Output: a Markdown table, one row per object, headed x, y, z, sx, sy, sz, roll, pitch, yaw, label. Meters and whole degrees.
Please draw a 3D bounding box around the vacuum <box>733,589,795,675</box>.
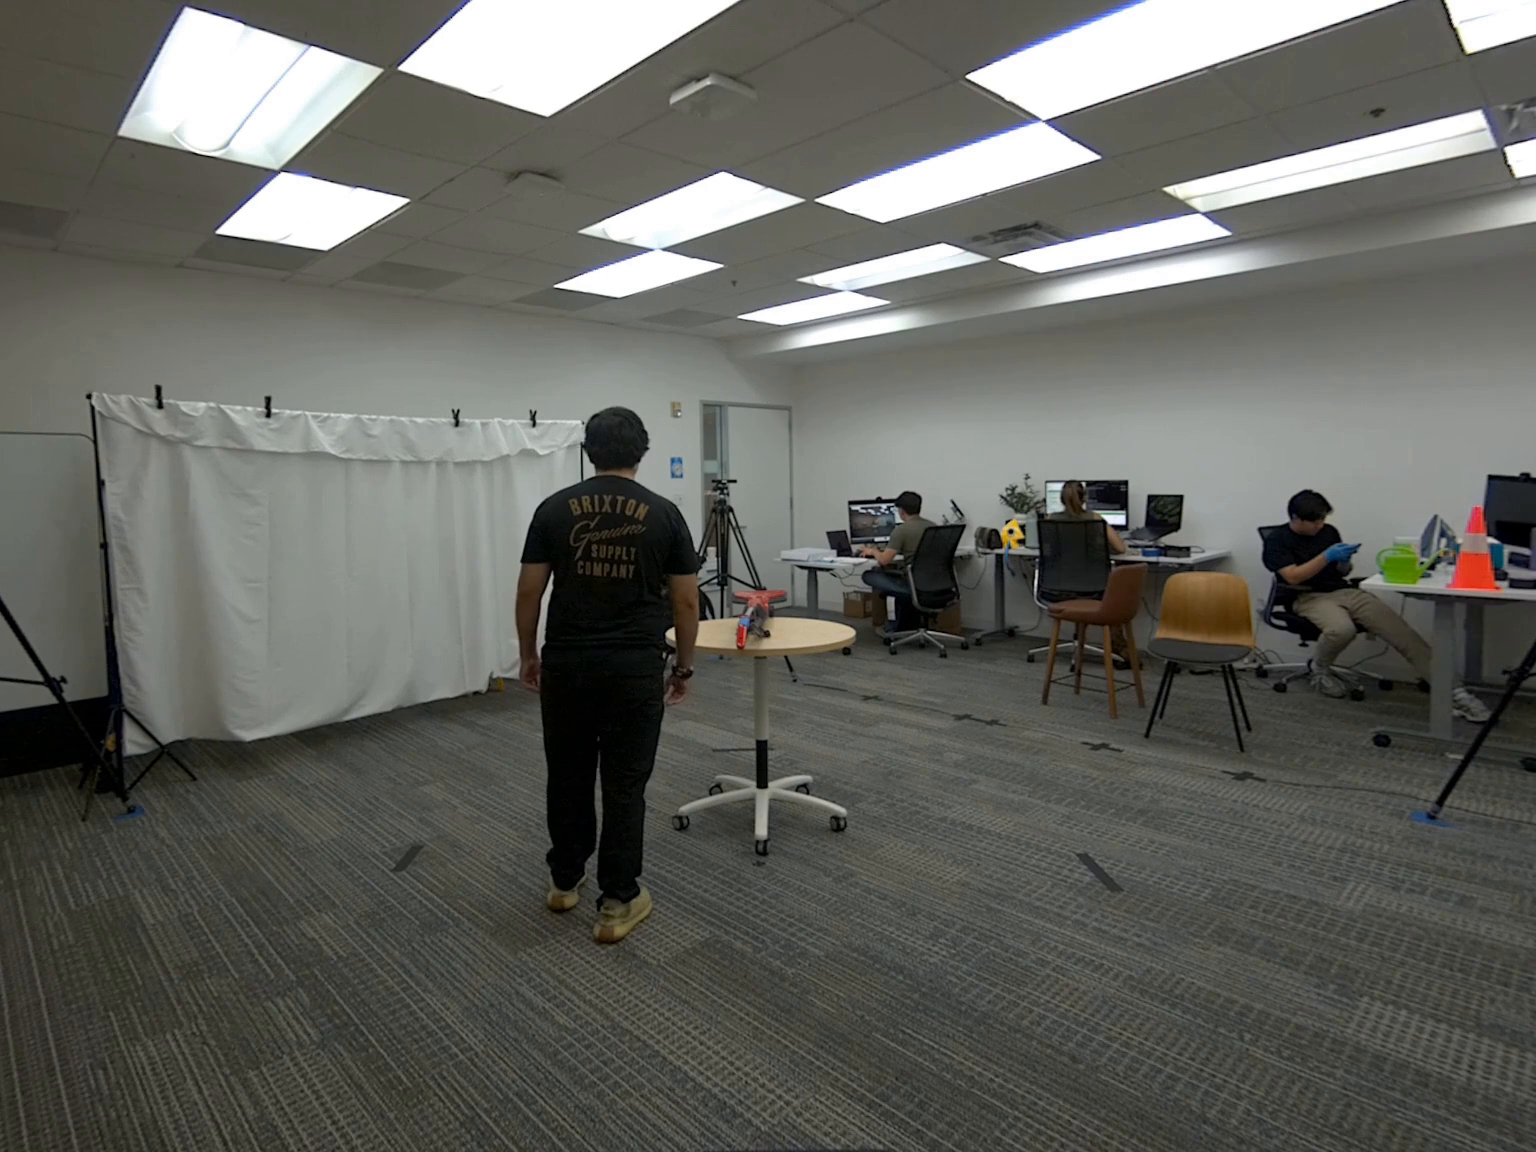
| x | y | z | sx | sy | sz | roll | pitch | yaw | label |
| --- | --- | --- | --- | --- | --- | --- | --- | --- | --- |
| -0.066 | 0.178 | 3.349 | 0.254 | 0.143 | 1.047 | 0 | 5 | 4 | vacuum |
